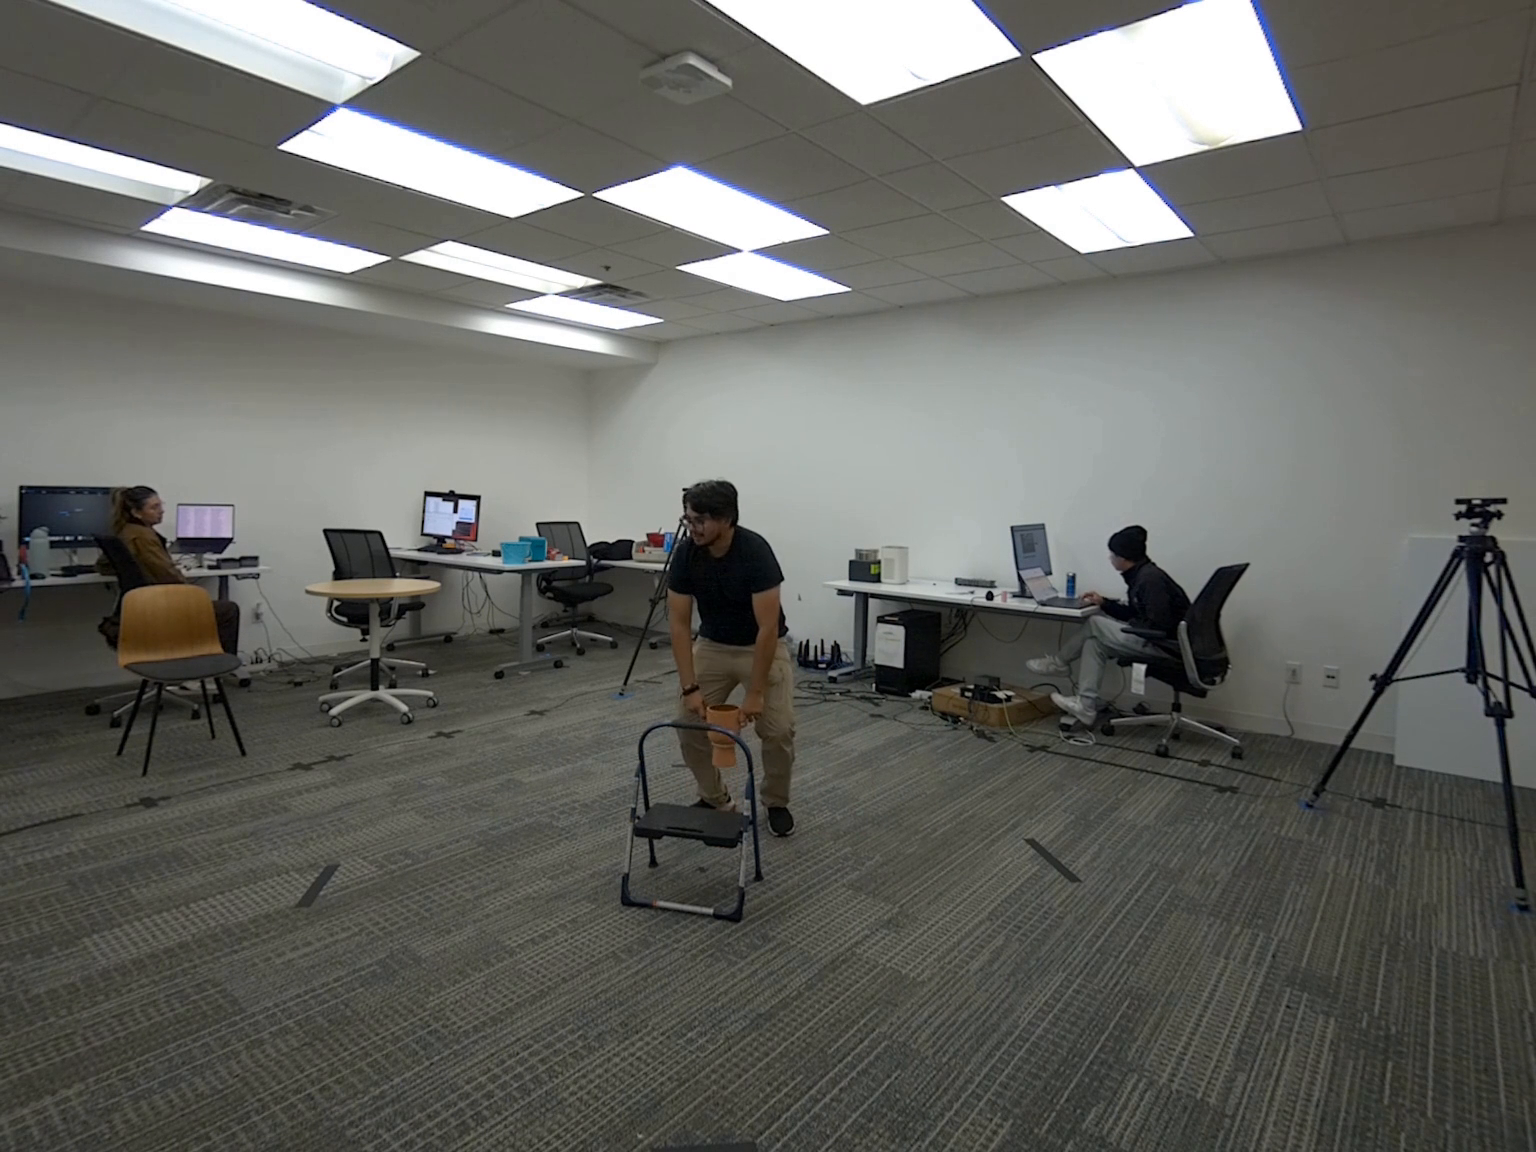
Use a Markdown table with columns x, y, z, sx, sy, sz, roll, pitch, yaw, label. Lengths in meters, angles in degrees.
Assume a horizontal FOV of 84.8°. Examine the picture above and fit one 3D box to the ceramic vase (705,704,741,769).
| x | y | z | sx | sy | sz | roll | pitch | yaw | label |
| --- | --- | --- | --- | --- | --- | --- | --- | --- | --- |
| -0.189 | 0.627 | 3.323 | 0.131 | 0.219 | 0.163 | -1 | 3 | -32 | ceramic vase |
